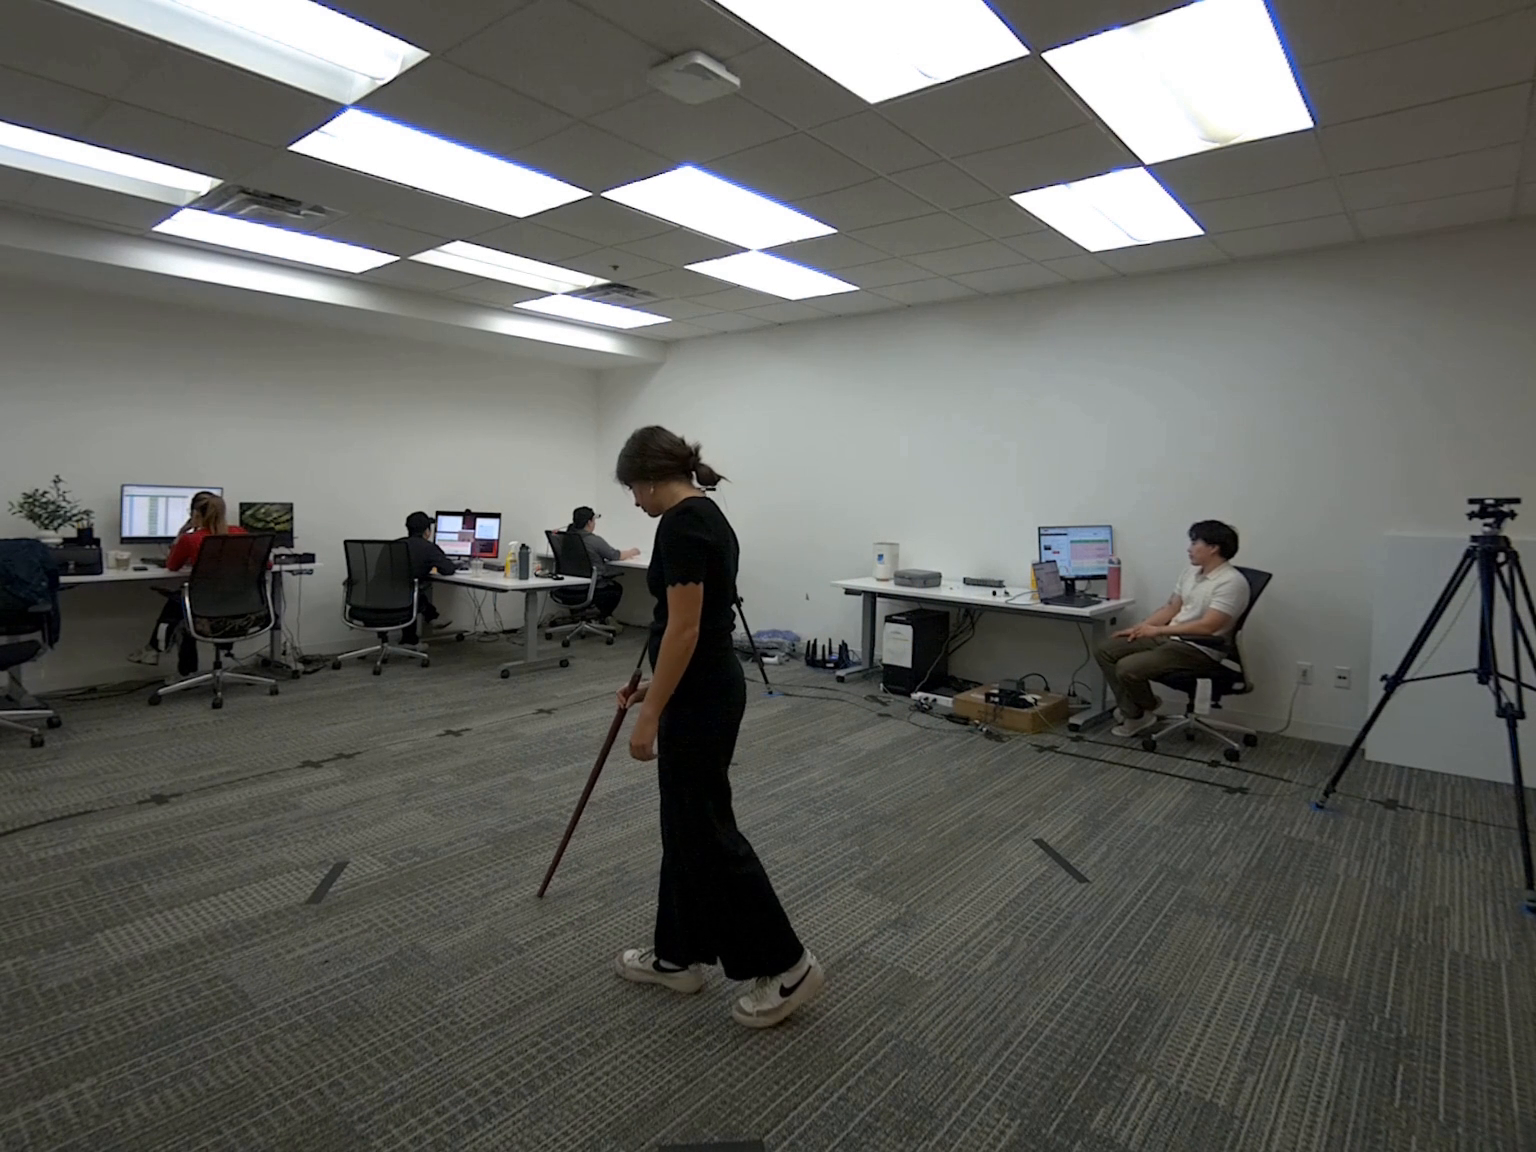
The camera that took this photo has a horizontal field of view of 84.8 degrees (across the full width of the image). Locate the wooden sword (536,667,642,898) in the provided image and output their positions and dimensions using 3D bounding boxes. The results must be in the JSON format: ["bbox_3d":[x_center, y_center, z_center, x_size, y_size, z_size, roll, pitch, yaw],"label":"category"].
[{"bbox_3d":[-0.589,0.696,2.645,0.024,1.015,0.052,21,28,-14],"label":"wooden sword"}]
